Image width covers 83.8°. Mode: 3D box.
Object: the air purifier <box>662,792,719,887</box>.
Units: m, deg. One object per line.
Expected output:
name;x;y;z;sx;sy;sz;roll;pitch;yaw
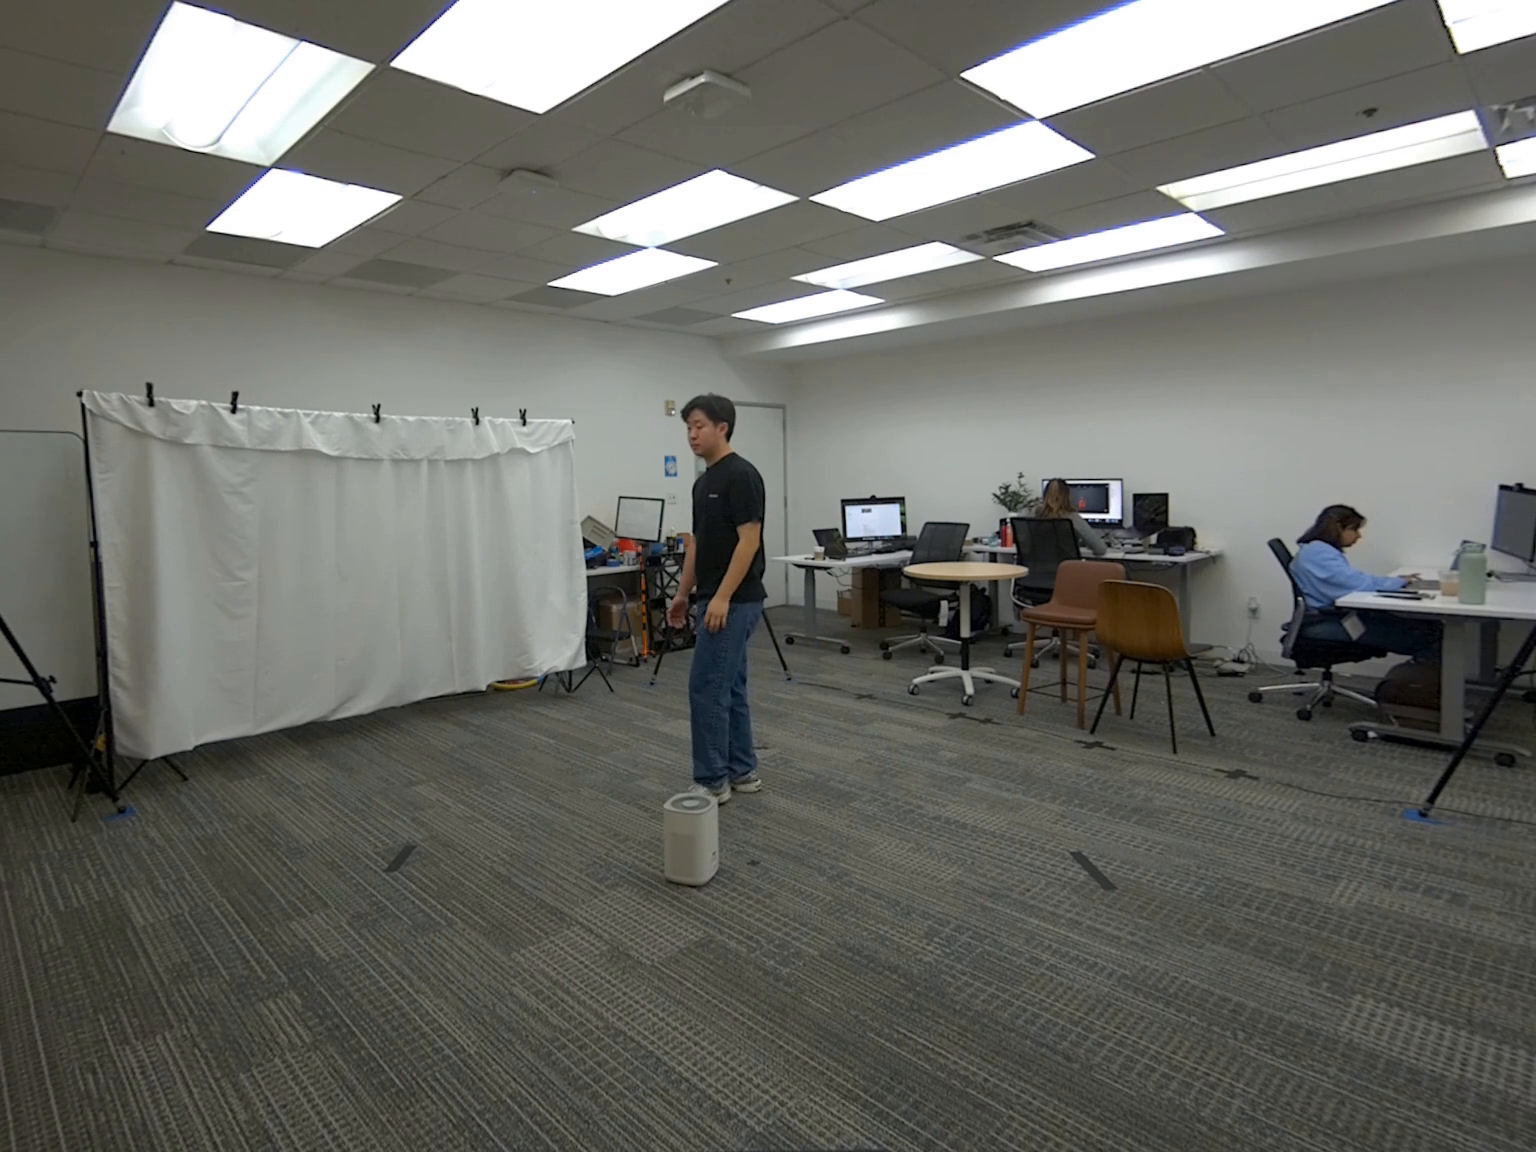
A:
air purifier;-0.266;0.925;3.000;0.175;0.264;0.168;1;5;21
